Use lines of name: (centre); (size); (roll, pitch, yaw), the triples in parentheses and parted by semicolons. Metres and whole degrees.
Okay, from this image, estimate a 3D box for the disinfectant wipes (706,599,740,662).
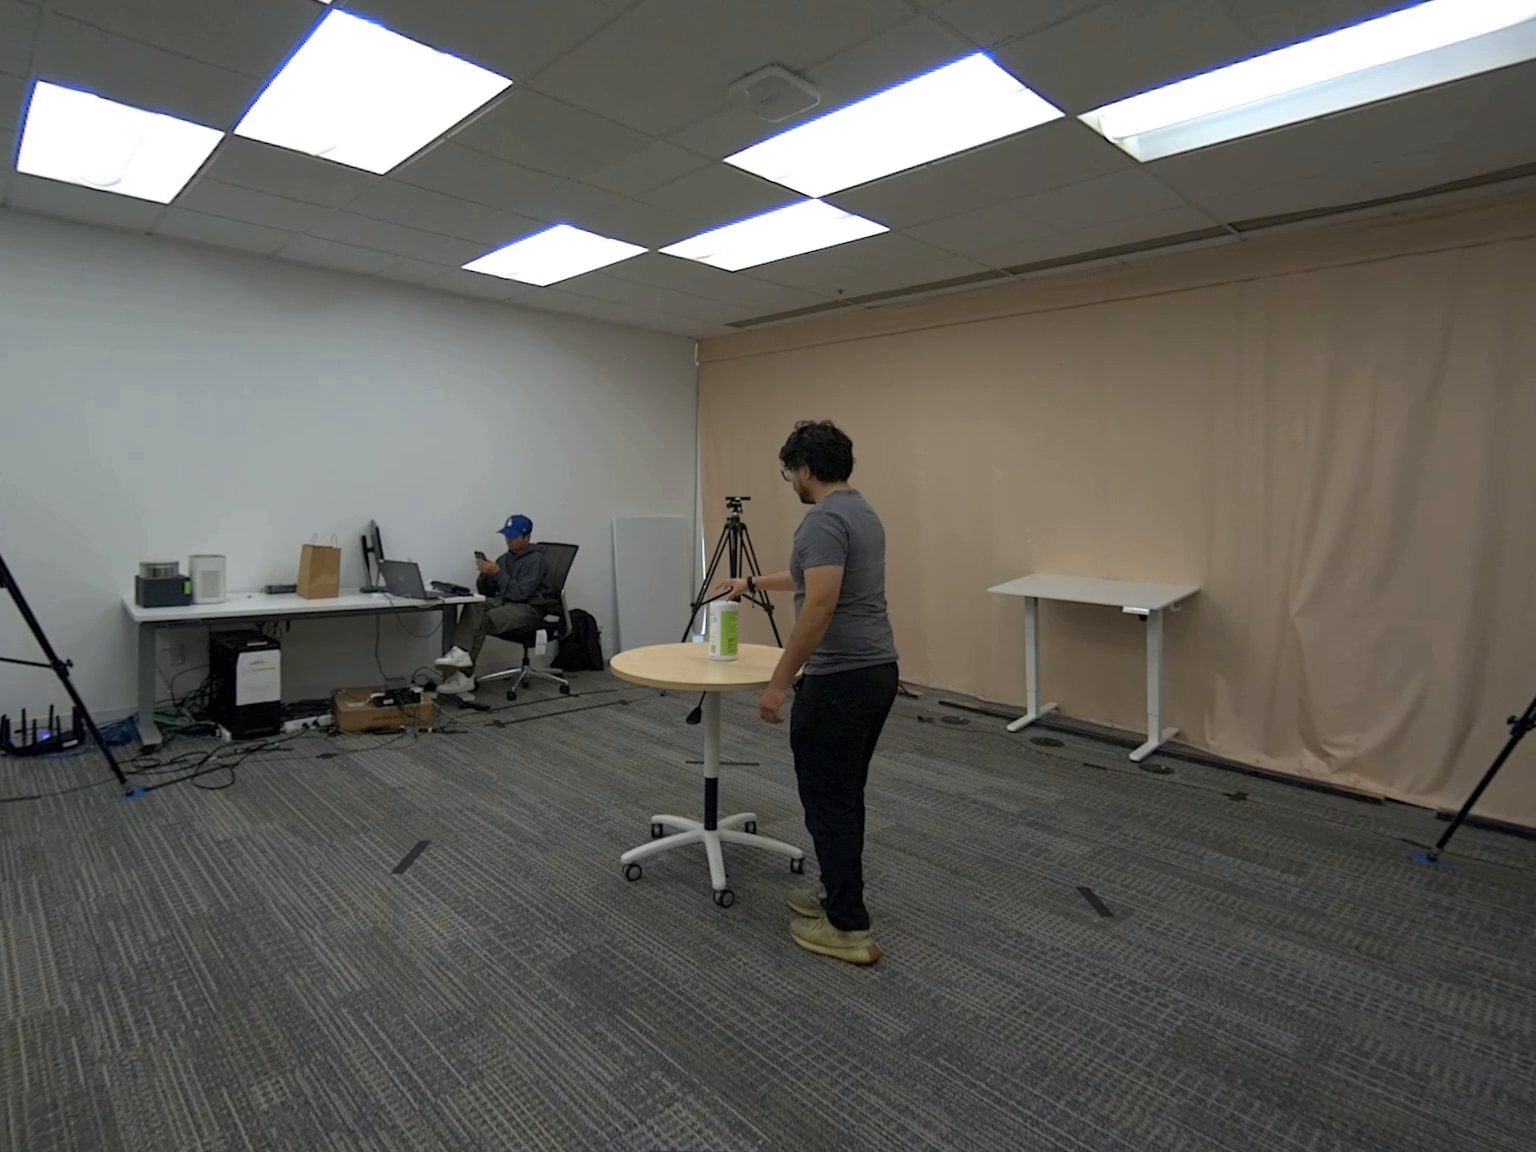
disinfectant wipes: (-0.177, 0.207, 3.189); (0.118, 0.217, 0.118); (2, 4, -1)
